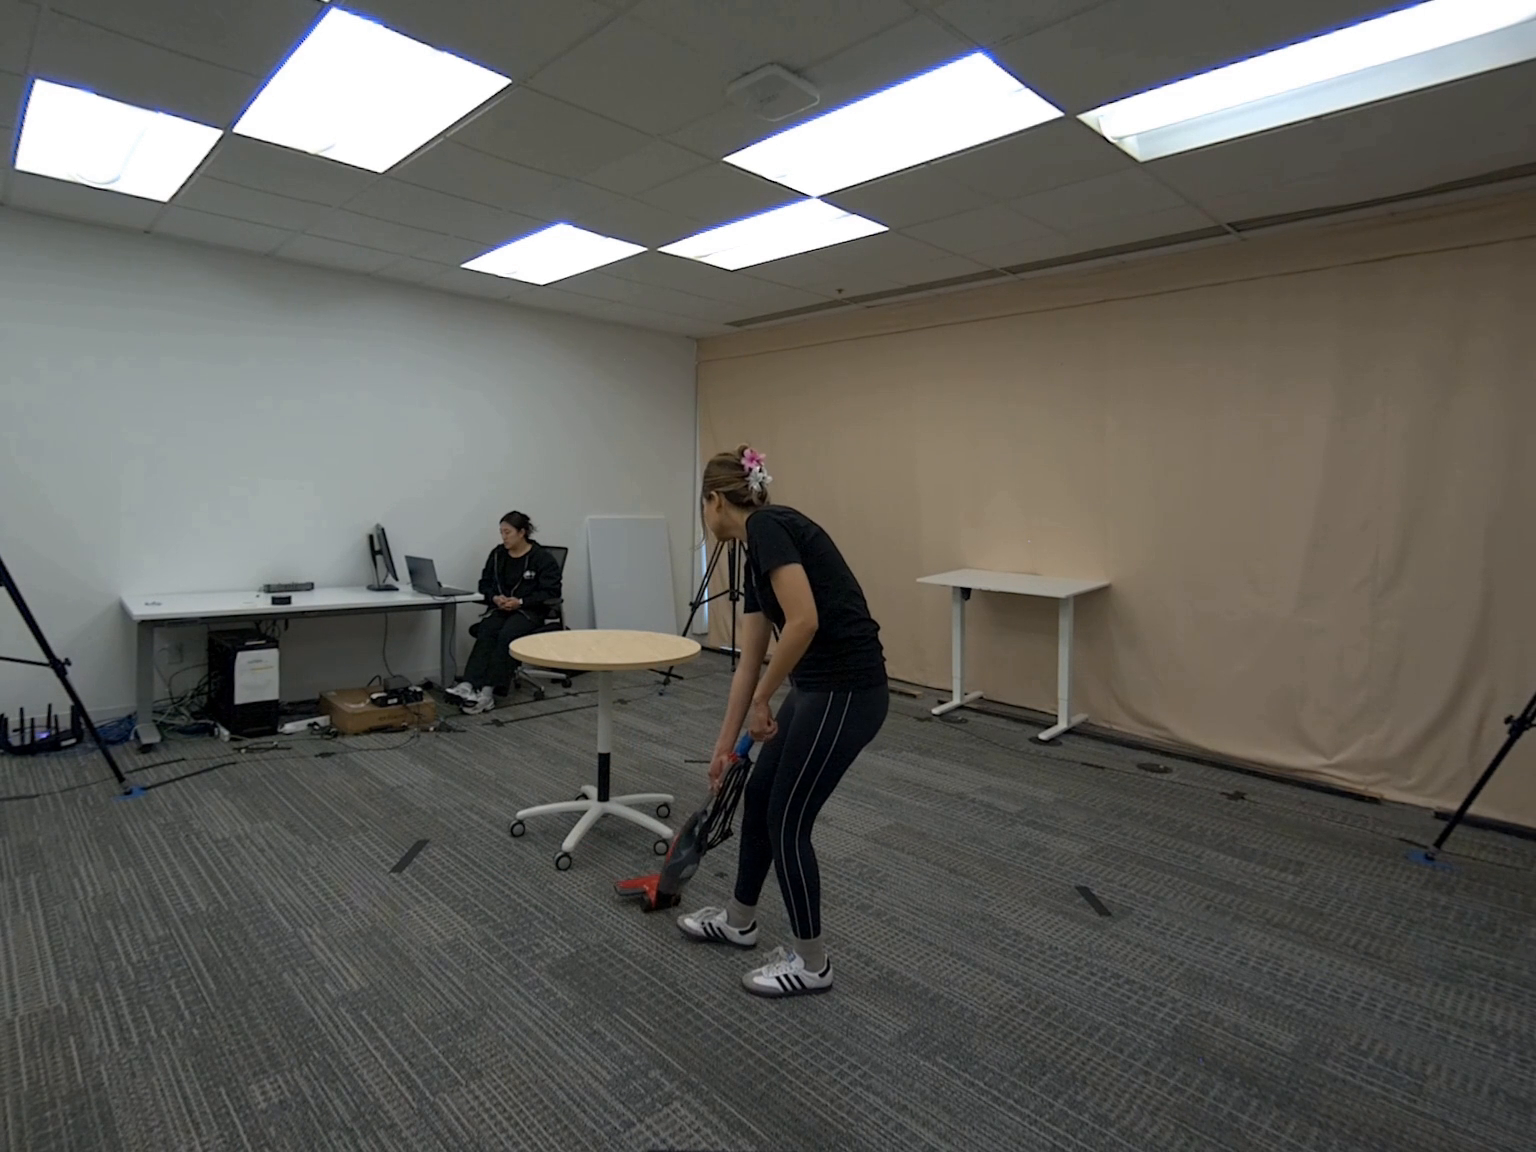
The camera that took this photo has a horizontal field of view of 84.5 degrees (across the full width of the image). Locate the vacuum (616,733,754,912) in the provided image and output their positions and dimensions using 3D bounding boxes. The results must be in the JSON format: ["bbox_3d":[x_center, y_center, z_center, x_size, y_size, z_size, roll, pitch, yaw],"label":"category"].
[{"bbox_3d":[-0.206,0.759,2.571,0.247,0.148,1.041,-4,-38,-33],"label":"vacuum"}]
